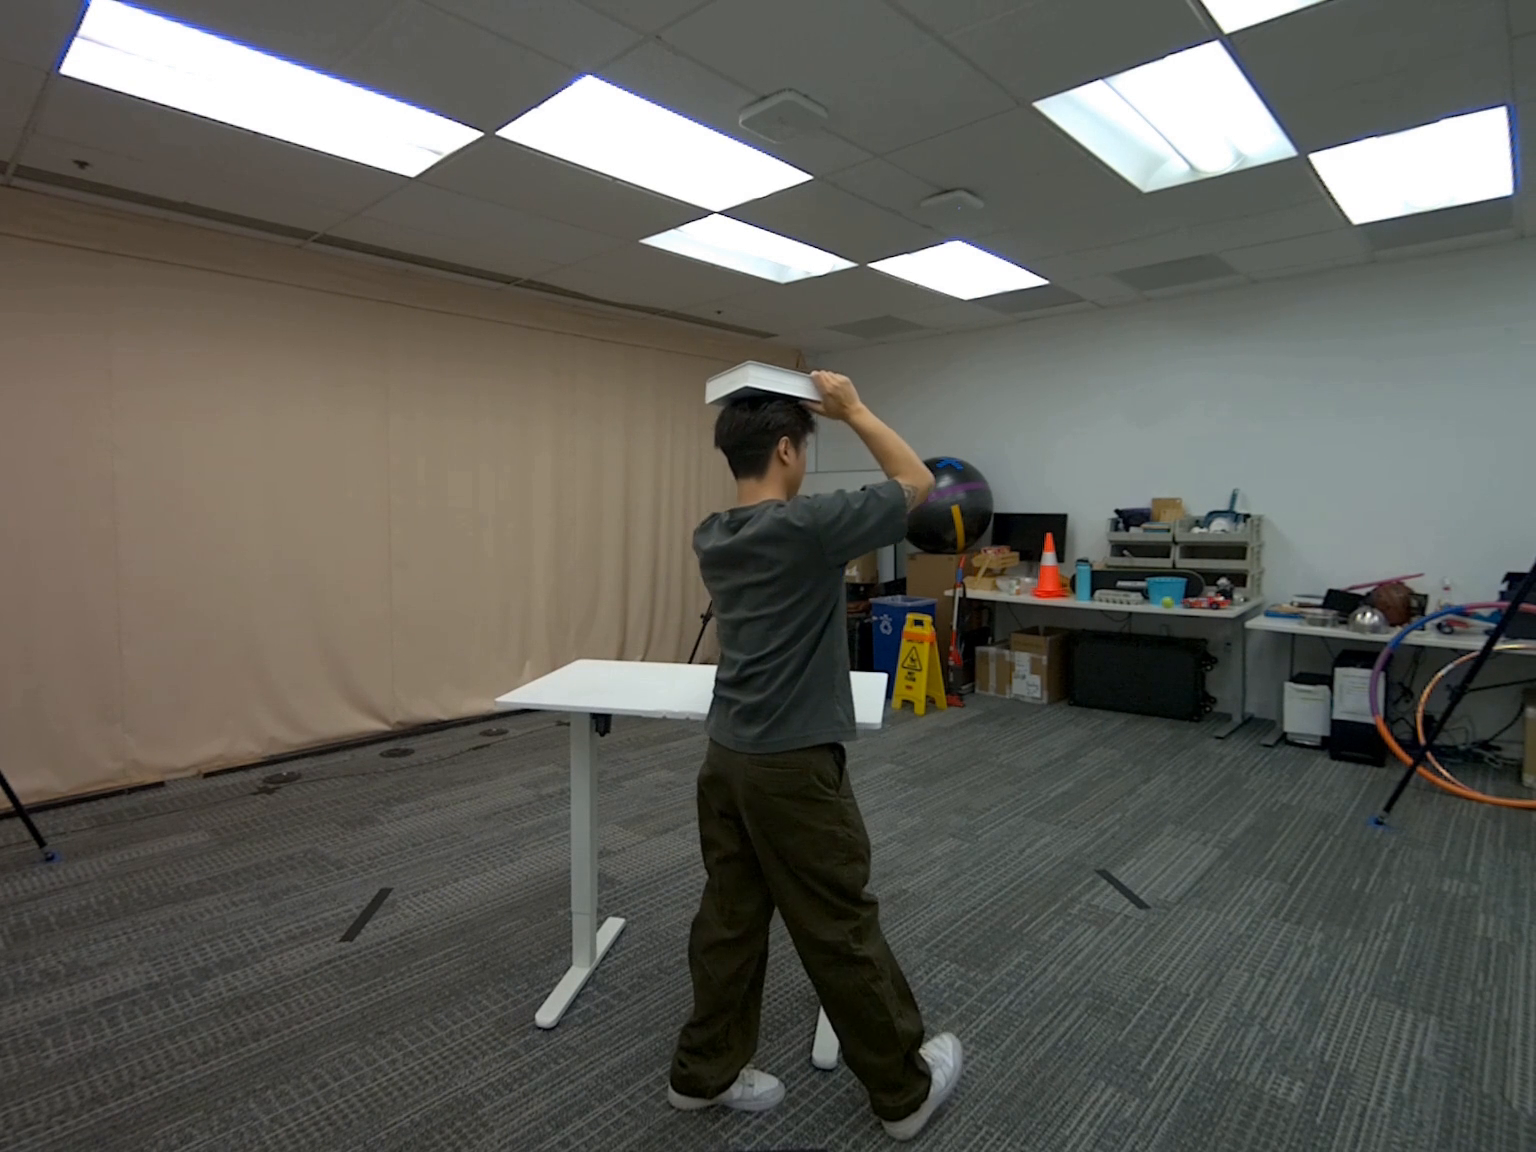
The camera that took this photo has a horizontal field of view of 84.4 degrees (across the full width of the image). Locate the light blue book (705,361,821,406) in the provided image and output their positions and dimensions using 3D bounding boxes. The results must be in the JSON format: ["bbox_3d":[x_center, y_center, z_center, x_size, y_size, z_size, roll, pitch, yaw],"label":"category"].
[{"bbox_3d":[0.019,-0.432,1.973,0.253,0.059,0.196,4,-5,-32],"label":"light blue book"}]
